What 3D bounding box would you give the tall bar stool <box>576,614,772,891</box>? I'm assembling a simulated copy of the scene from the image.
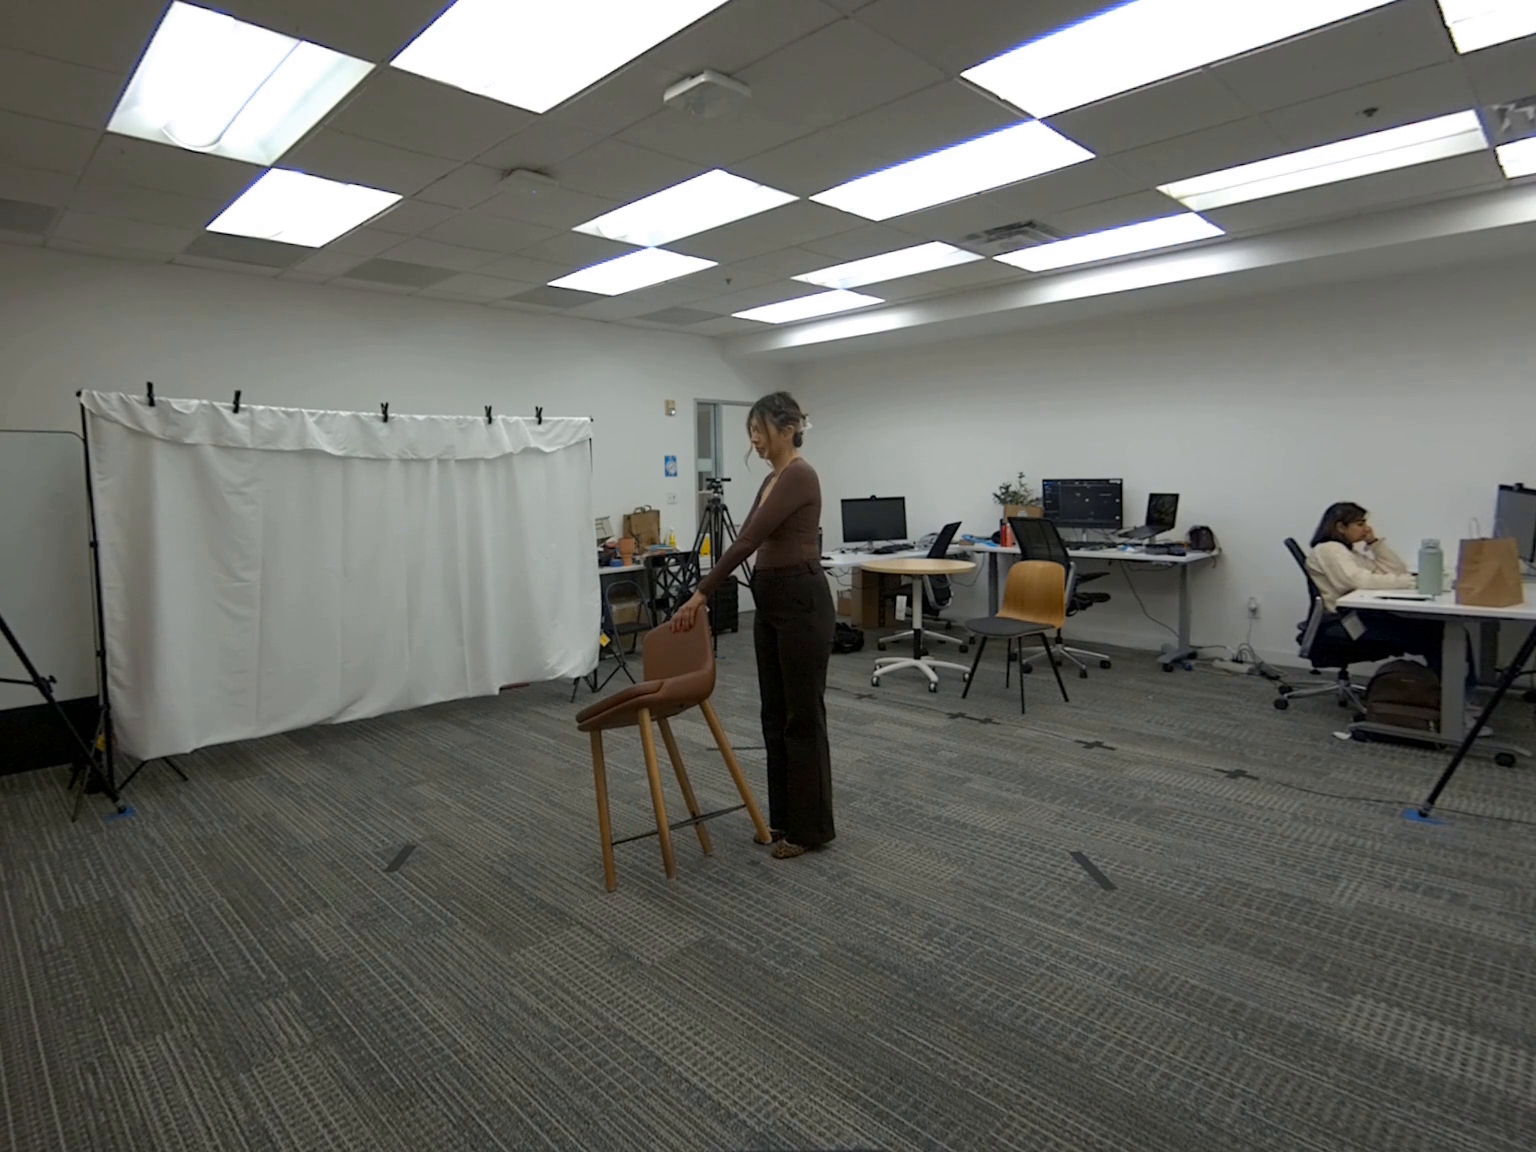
[{"bbox_3d":[-0.381,0.581,3.036,0.454,0.906,0.461,-1,-21,-42],"label":"tall bar stool"}]
